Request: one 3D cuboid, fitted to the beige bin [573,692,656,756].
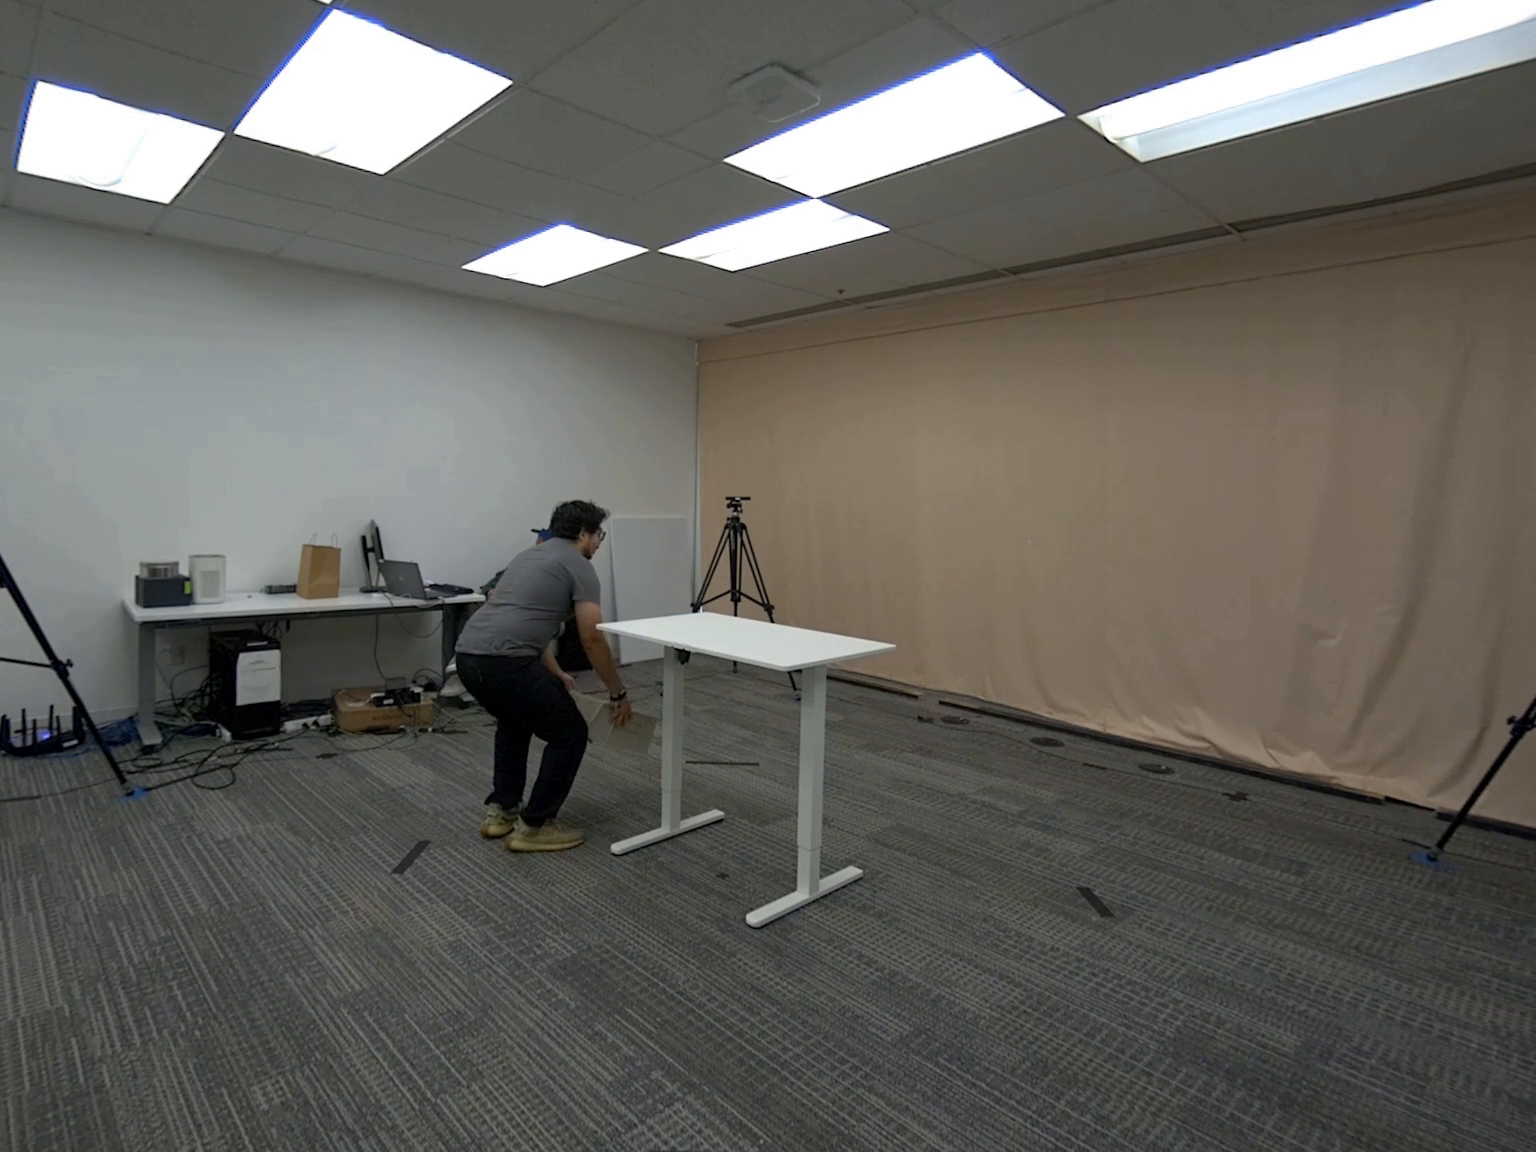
[{"bbox_3d":[-0.765,0.634,3.710,0.433,0.190,0.365,5,-16,43],"label":"beige bin"}]
